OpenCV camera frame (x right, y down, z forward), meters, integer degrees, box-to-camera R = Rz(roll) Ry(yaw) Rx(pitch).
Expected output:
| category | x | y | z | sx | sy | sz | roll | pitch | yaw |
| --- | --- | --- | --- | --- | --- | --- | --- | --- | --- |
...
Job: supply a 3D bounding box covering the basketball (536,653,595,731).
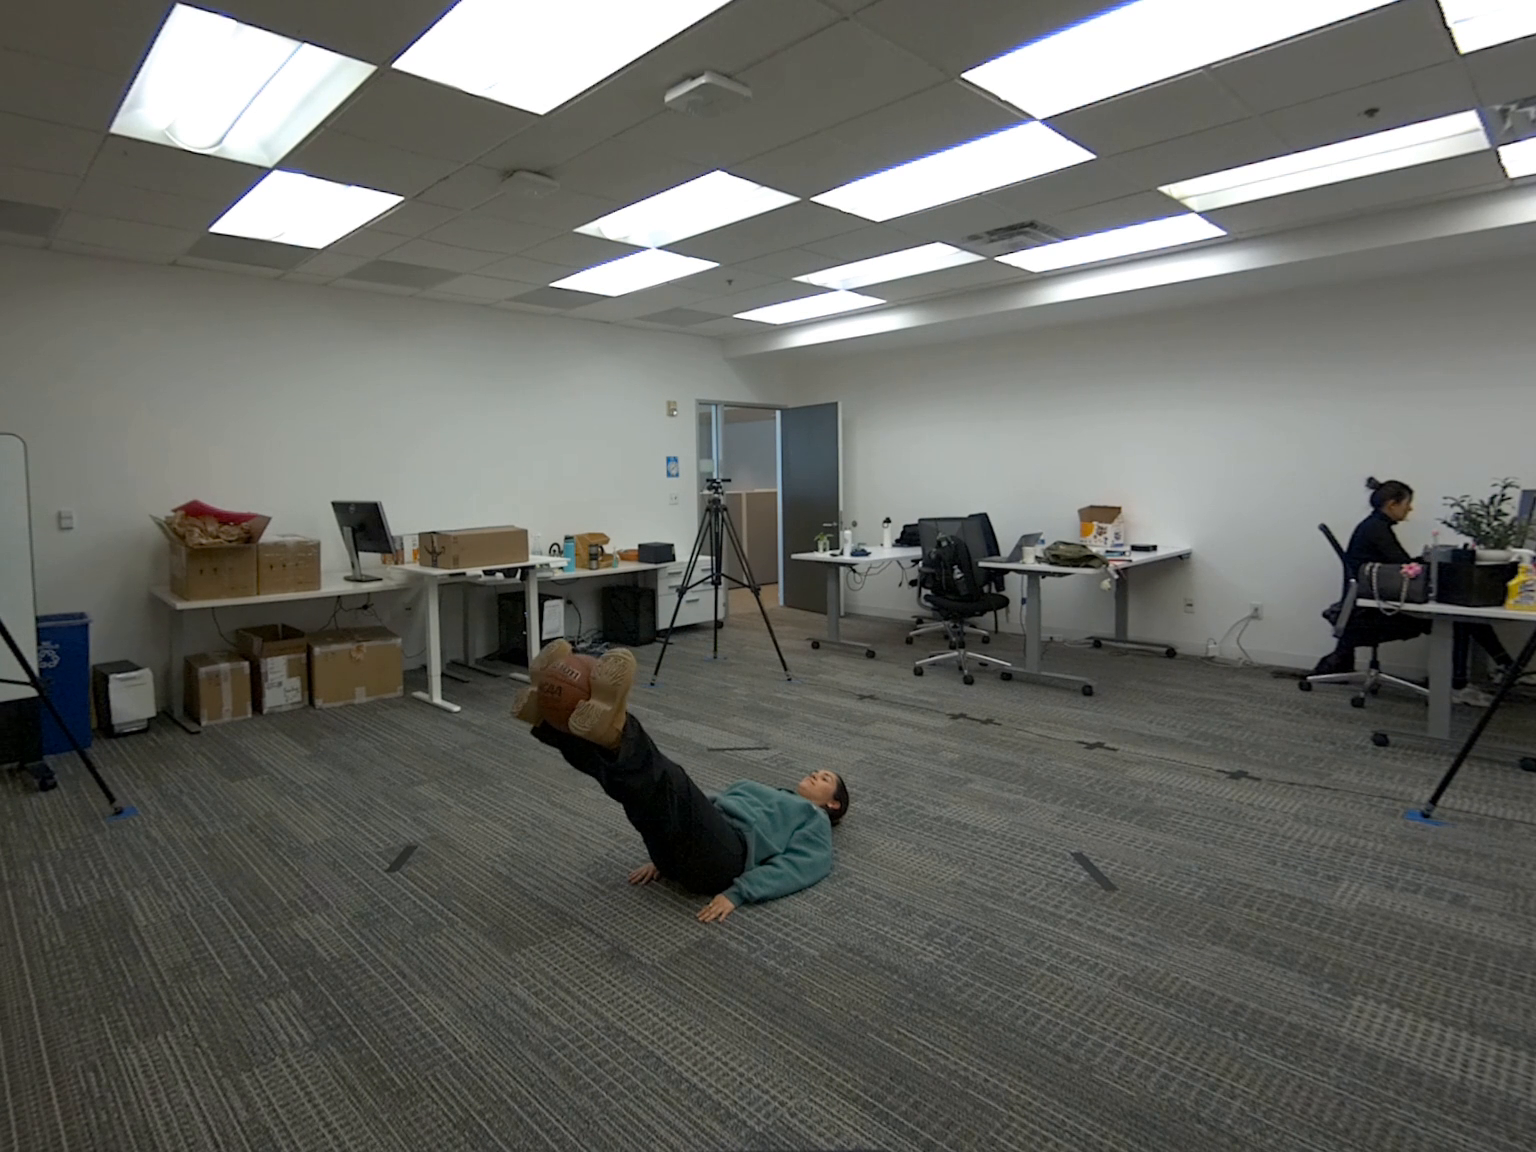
| category | x | y | z | sx | sy | sz | roll | pitch | yaw |
| --- | --- | --- | --- | --- | --- | --- | --- | --- | --- |
| basketball | -0.573 | 0.356 | 2.574 | 0.236 | 0.235 | 0.237 | -1 | 4 | -2 |
